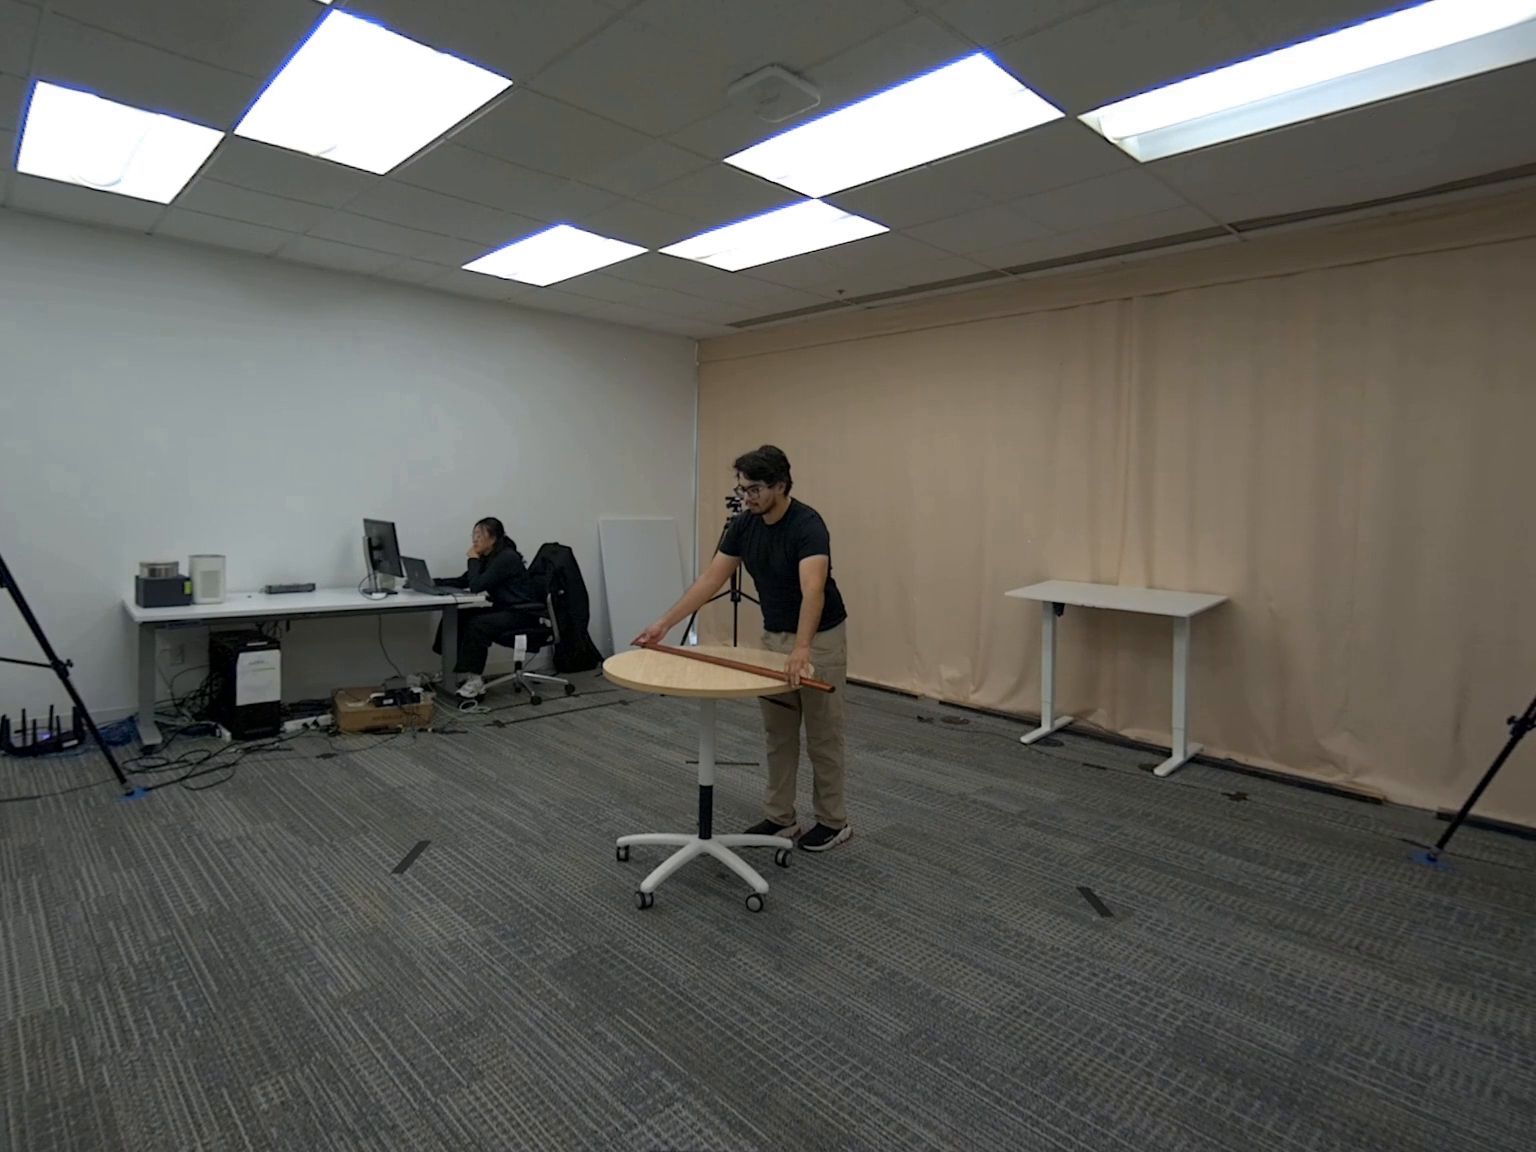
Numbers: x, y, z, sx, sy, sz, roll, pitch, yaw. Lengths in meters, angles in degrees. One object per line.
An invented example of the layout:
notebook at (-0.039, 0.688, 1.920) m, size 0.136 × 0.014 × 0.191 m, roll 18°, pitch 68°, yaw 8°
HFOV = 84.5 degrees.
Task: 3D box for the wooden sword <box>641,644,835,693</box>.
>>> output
wooden sword at (-0.163, 0.315, 3.056) m, size 0.050 × 0.024 × 1.051 m, roll 20°, pitch -8°, yaw -42°
